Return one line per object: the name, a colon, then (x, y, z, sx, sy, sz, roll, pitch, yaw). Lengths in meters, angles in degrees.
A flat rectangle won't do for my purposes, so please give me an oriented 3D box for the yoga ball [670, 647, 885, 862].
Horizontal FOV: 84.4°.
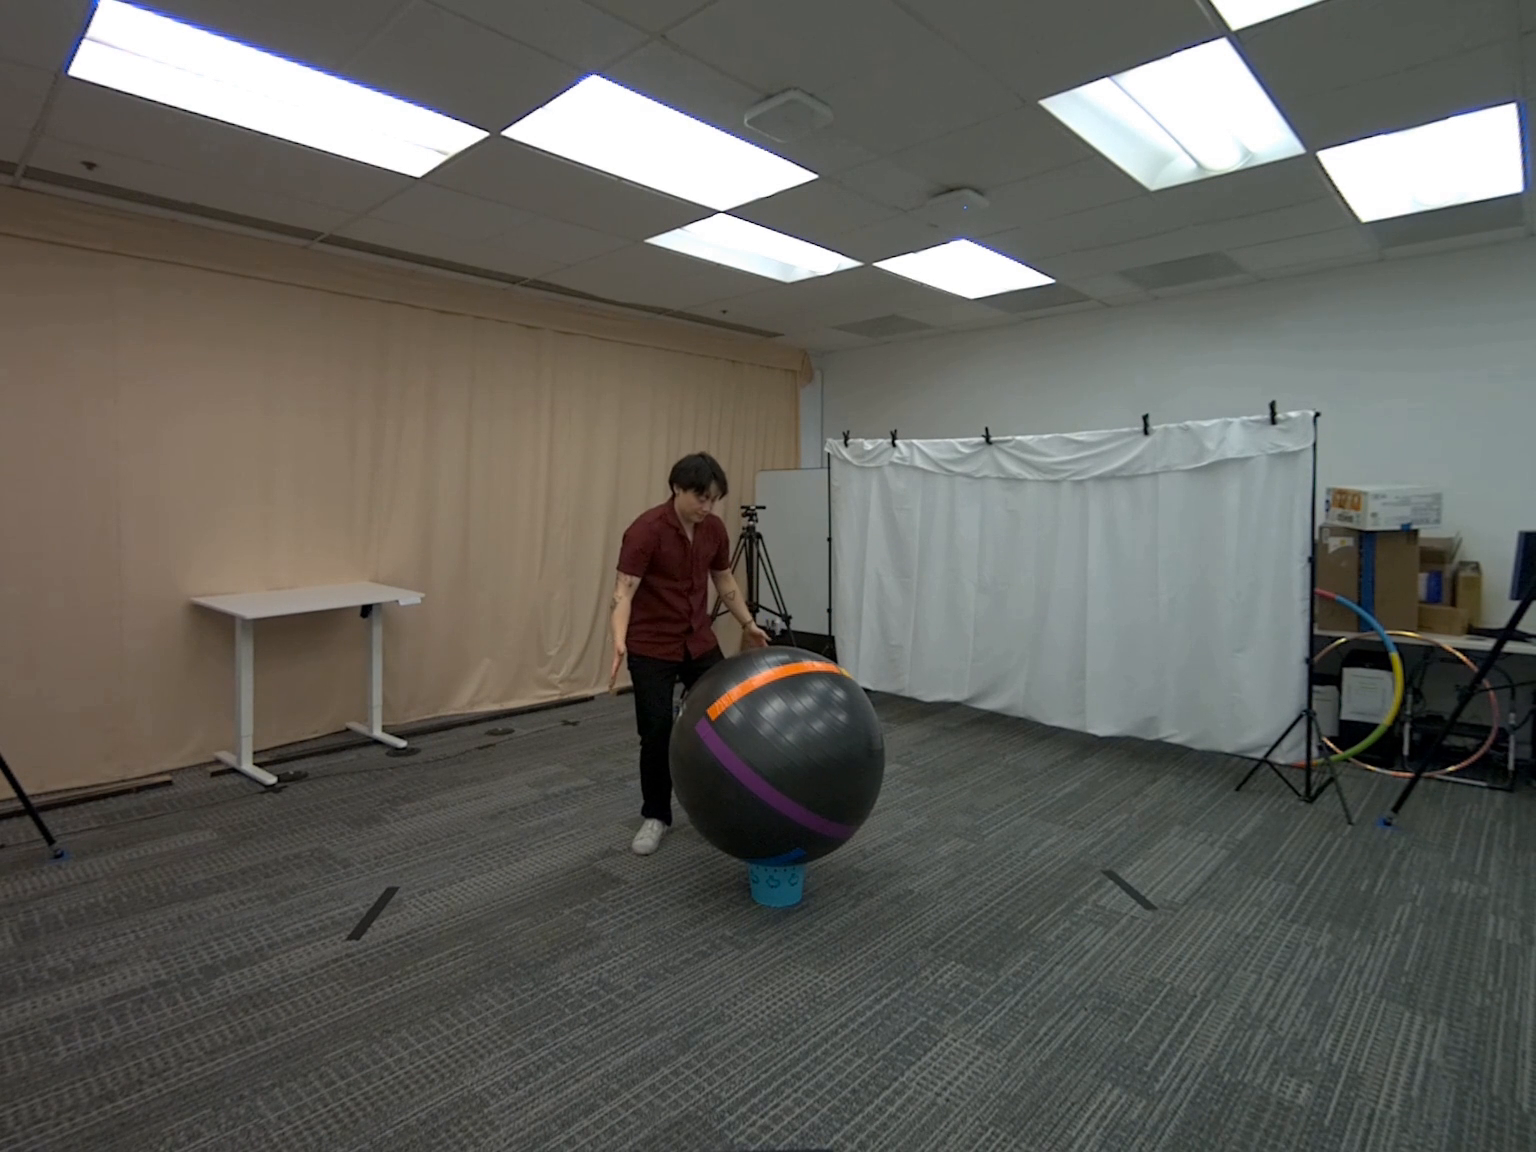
yoga ball: (0.035, 0.637, 2.984, 0.757, 0.756, 0.761, 0, 4, -2)
